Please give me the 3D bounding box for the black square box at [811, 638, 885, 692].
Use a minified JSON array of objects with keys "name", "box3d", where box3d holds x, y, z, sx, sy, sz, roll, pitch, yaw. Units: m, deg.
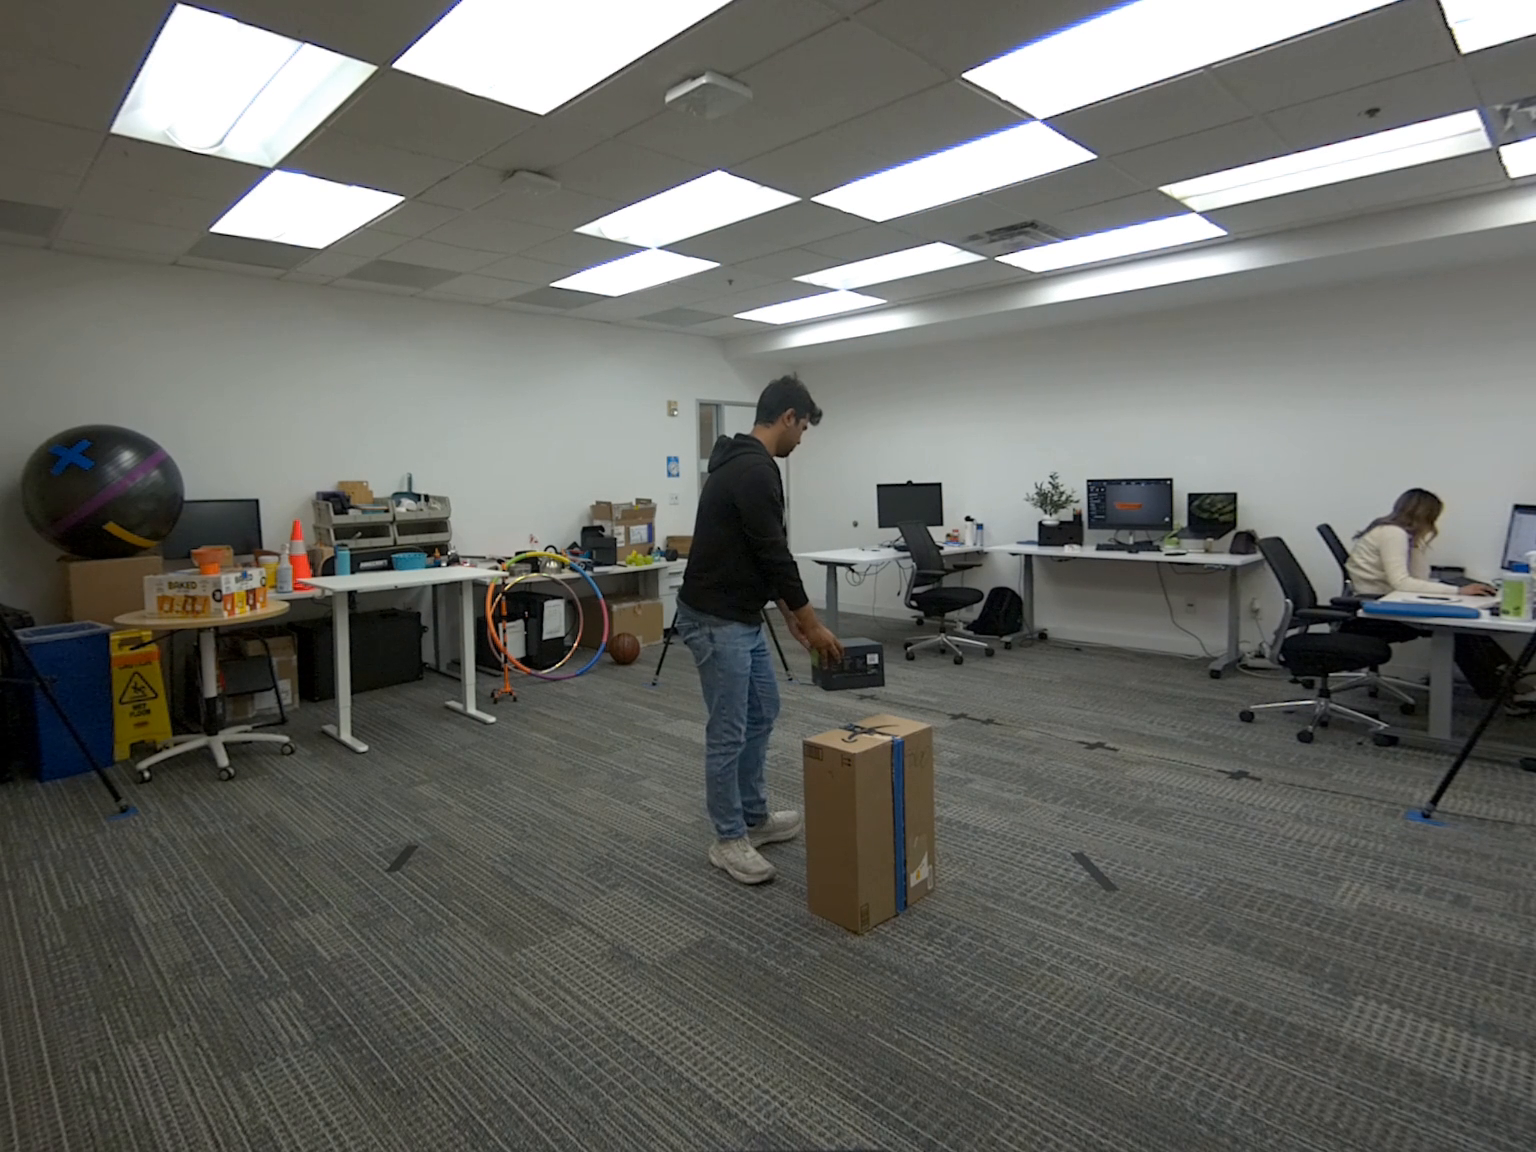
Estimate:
[{"name":"black square box","box3d":[0.288,0.329,3.145,0.215,0.156,0.230,-3,1,-9]}]
